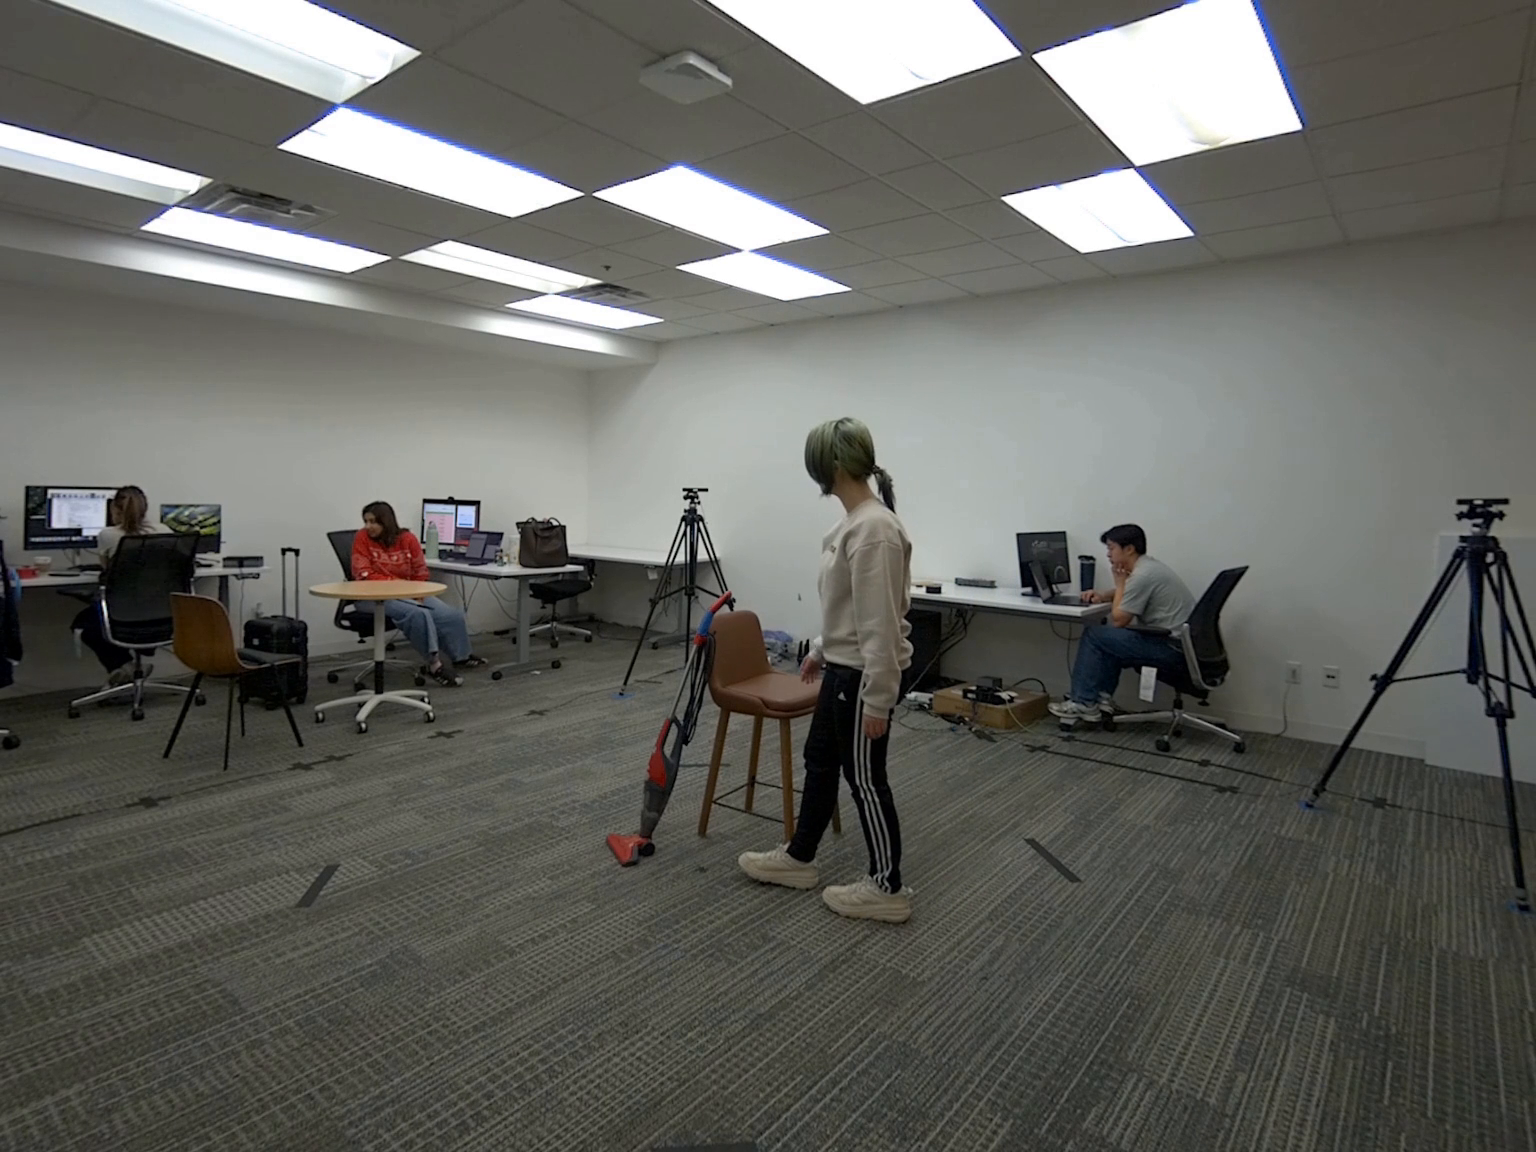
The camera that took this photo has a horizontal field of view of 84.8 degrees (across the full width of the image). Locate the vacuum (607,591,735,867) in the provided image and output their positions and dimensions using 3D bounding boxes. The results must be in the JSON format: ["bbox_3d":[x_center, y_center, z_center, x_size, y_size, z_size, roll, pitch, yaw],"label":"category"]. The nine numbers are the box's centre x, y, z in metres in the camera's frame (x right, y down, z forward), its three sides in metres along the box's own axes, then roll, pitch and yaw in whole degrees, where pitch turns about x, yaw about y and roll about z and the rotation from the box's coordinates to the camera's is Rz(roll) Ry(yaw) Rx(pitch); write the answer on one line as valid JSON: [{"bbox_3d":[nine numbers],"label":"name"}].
[{"bbox_3d":[-0.360,0.558,3.296,0.140,1.052,0.259,22,-6,-25],"label":"vacuum"}]
